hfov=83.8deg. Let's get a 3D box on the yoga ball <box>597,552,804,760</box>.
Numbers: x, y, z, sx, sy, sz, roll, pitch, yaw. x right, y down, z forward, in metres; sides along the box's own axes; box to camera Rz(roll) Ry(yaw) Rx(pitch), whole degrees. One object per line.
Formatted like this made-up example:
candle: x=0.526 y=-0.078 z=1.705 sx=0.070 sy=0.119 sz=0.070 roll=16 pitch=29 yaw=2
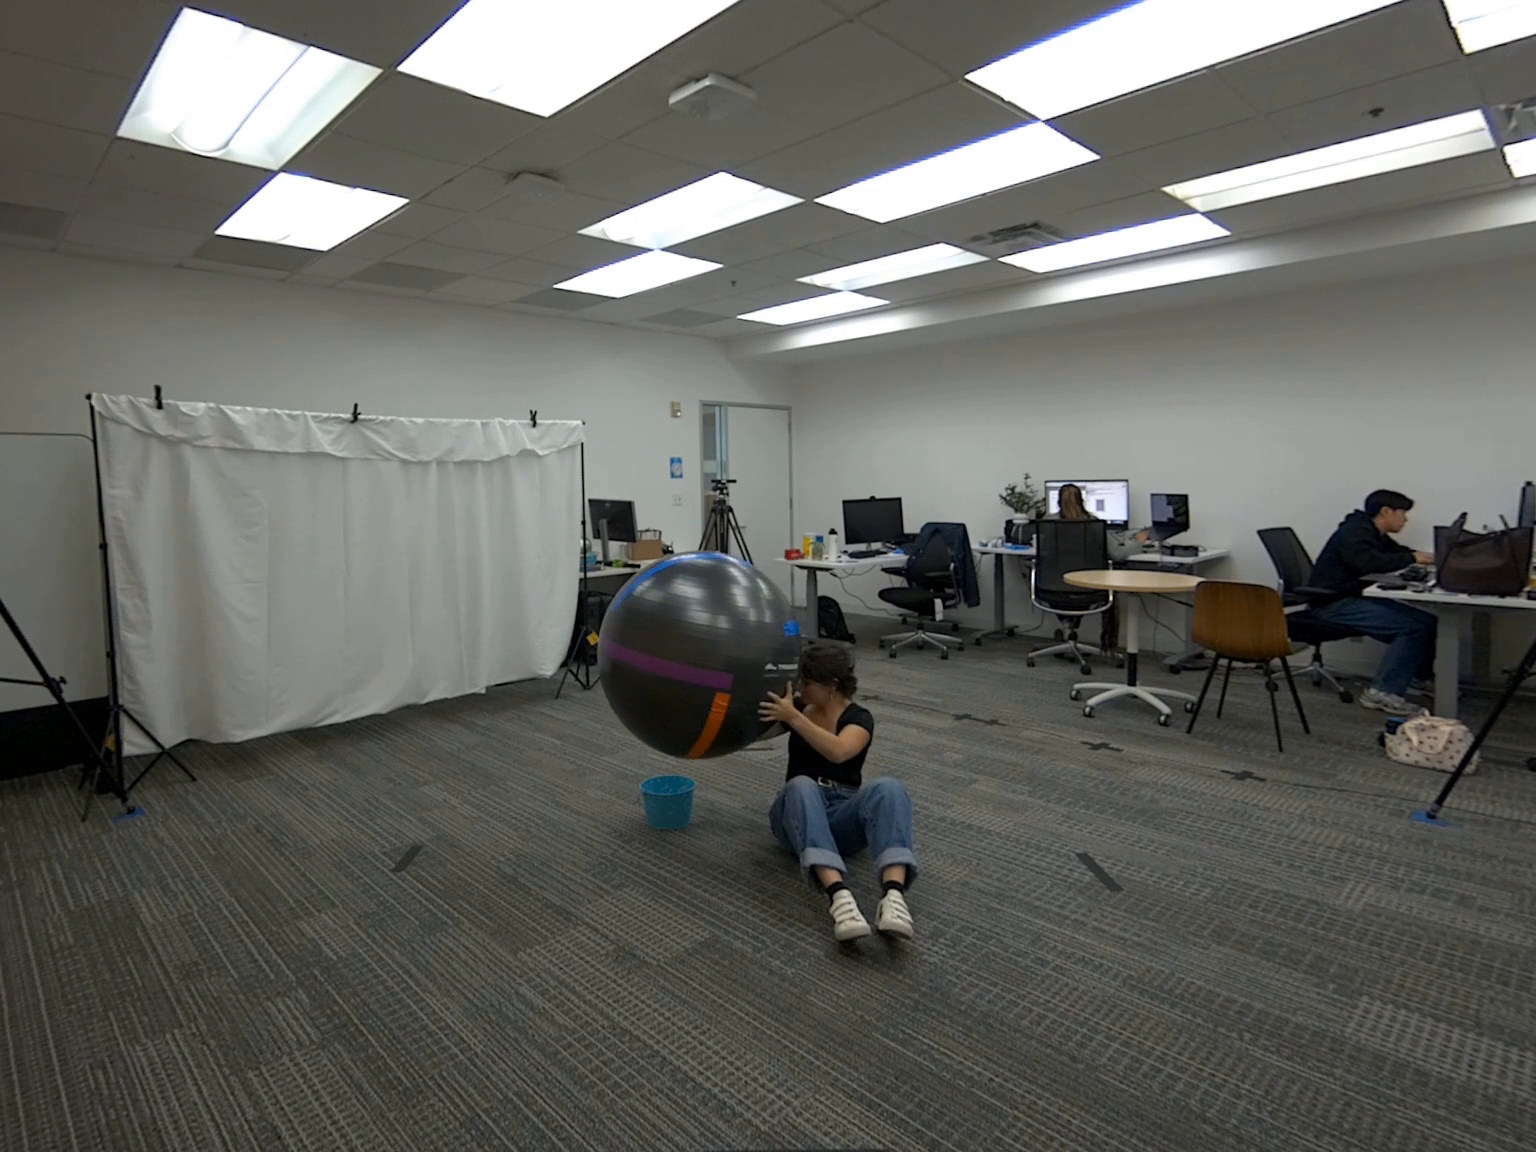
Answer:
yoga ball: x=-0.246 y=0.293 z=3.169 sx=0.757 sy=0.755 sz=0.762 roll=-1 pitch=5 yaw=-2
